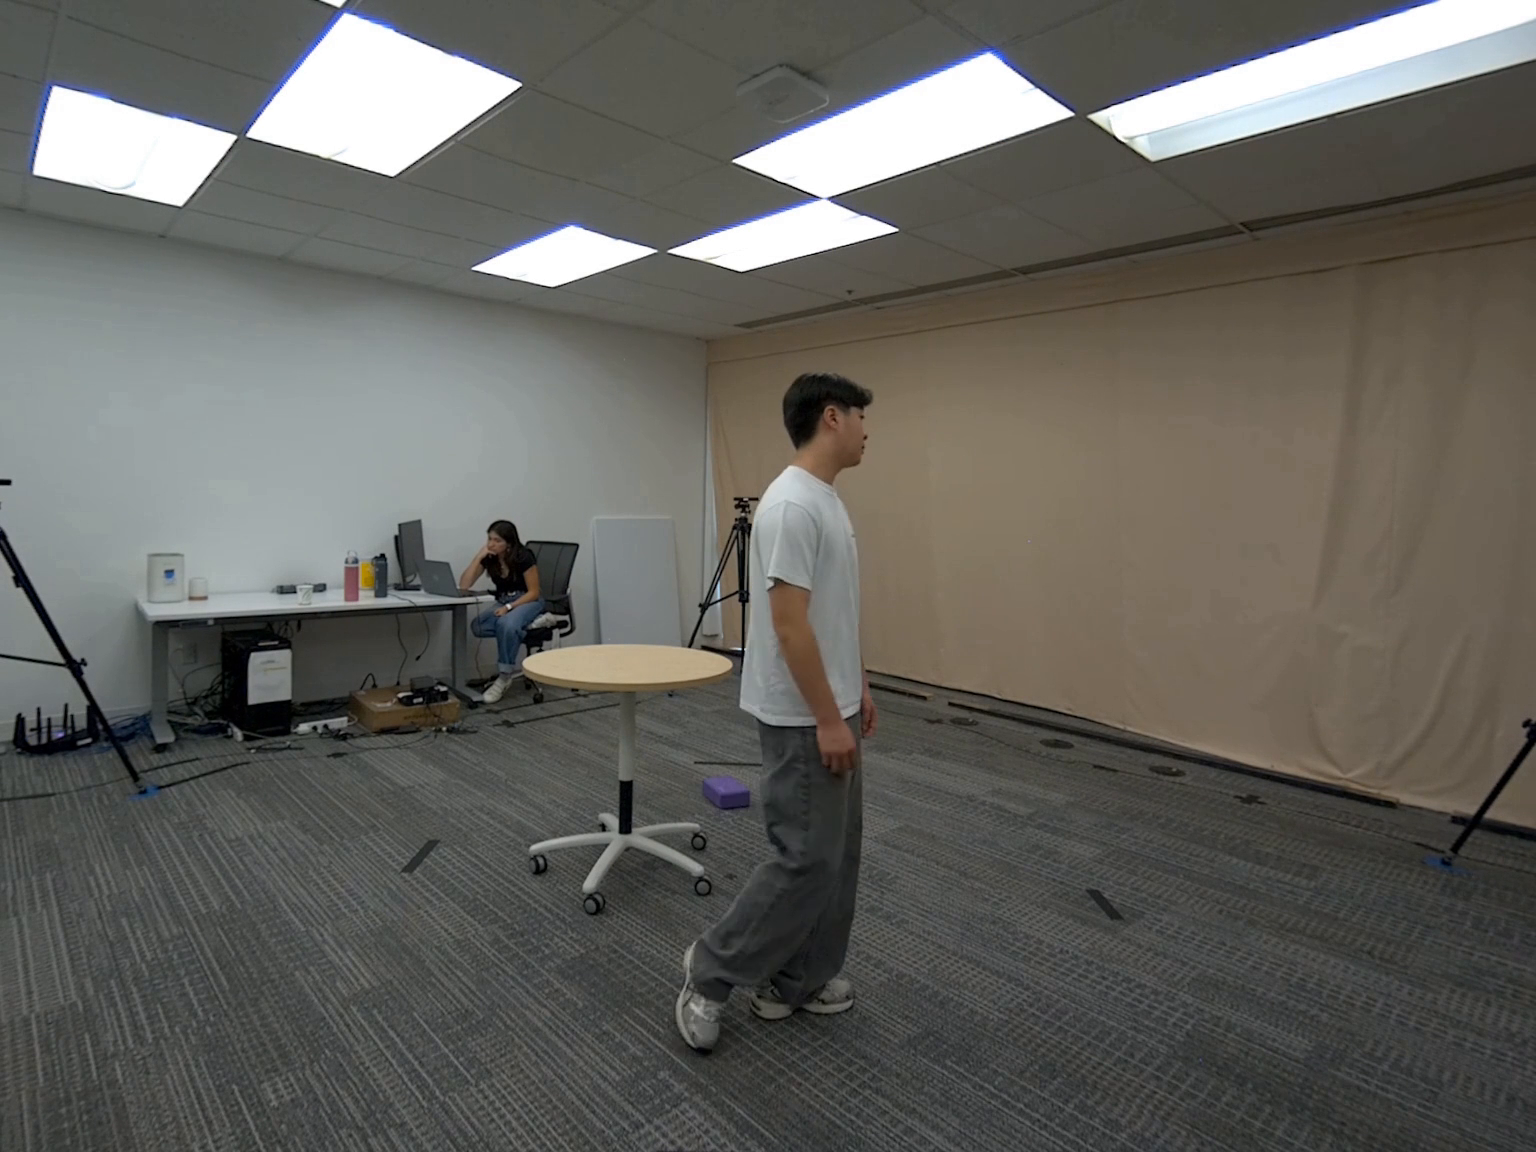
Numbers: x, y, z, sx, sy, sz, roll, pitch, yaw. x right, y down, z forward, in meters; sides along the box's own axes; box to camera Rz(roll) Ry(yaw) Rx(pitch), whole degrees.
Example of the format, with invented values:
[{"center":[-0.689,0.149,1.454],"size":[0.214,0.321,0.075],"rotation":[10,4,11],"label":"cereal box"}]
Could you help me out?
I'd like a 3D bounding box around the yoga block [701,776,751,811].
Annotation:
[{"center":[-0.207,1.006,3.895],"size":[0.146,0.076,0.234],"rotation":[-1,5,-25],"label":"yoga block"}]
